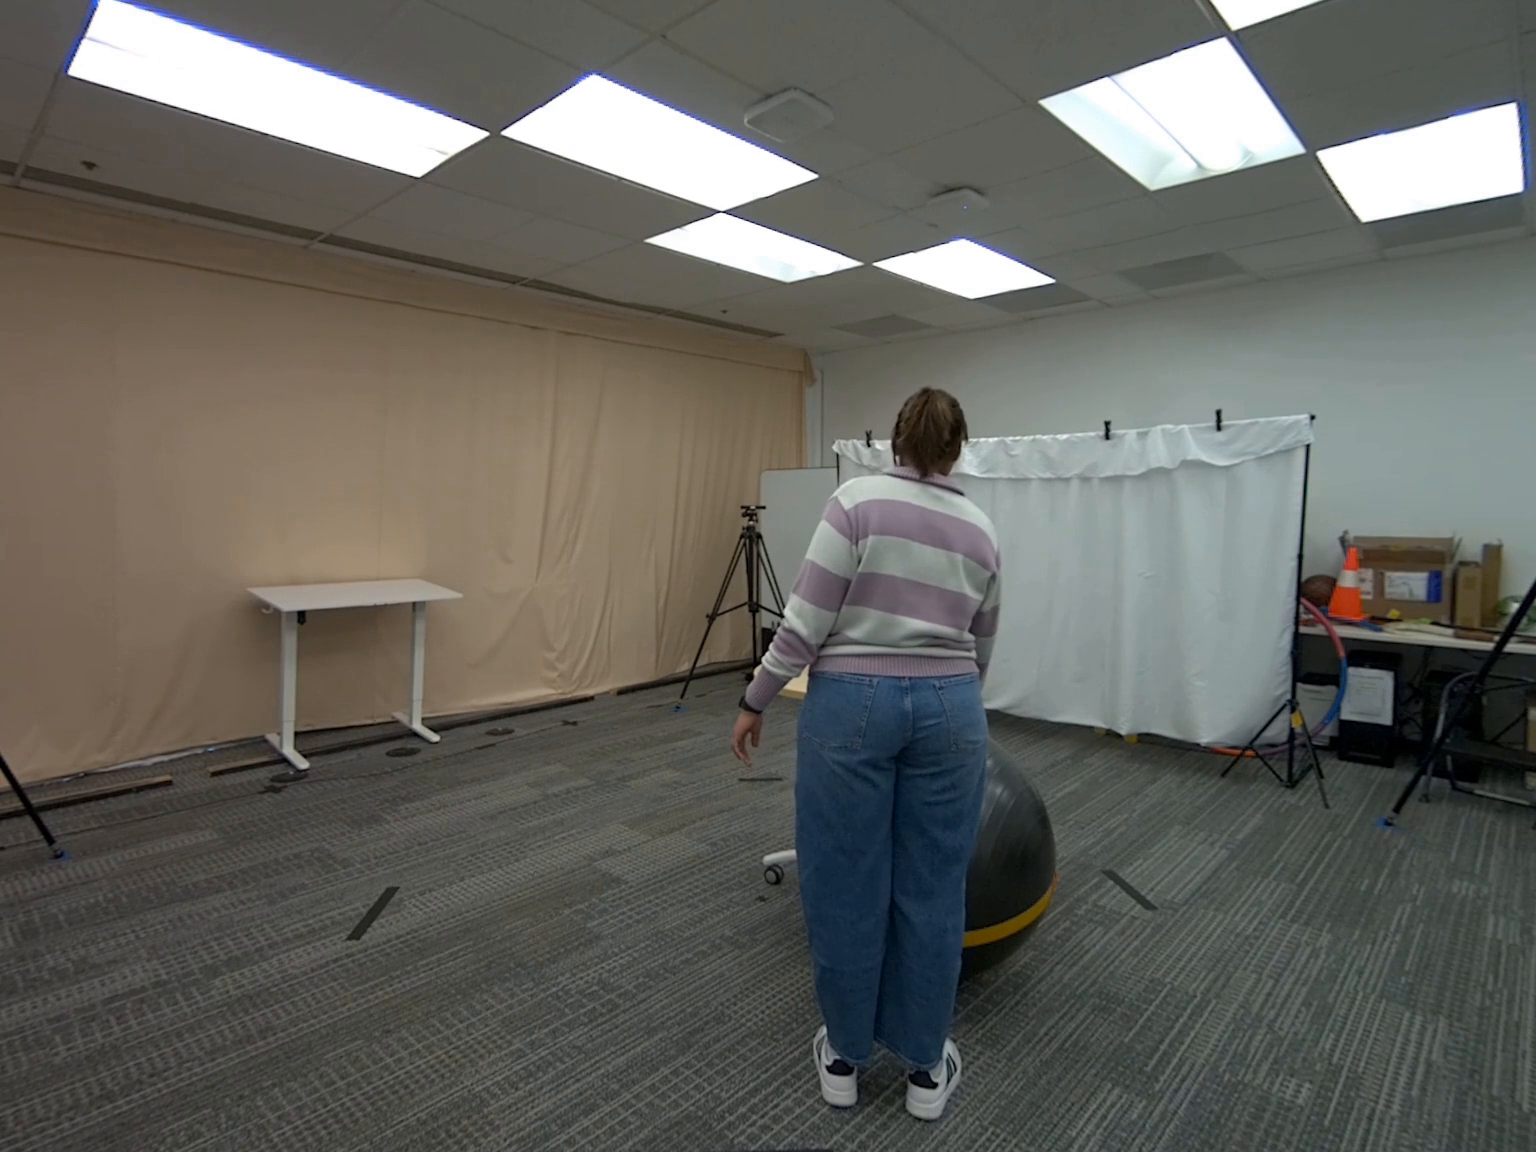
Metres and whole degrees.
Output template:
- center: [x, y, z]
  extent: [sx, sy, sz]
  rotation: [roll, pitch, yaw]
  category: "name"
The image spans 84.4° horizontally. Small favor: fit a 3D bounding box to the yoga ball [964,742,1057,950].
- center: [0.472, 0.807, 2.544]
  extent: [0.757, 0.756, 0.760]
  rotation: [0, 4, -2]
  category: "yoga ball"
